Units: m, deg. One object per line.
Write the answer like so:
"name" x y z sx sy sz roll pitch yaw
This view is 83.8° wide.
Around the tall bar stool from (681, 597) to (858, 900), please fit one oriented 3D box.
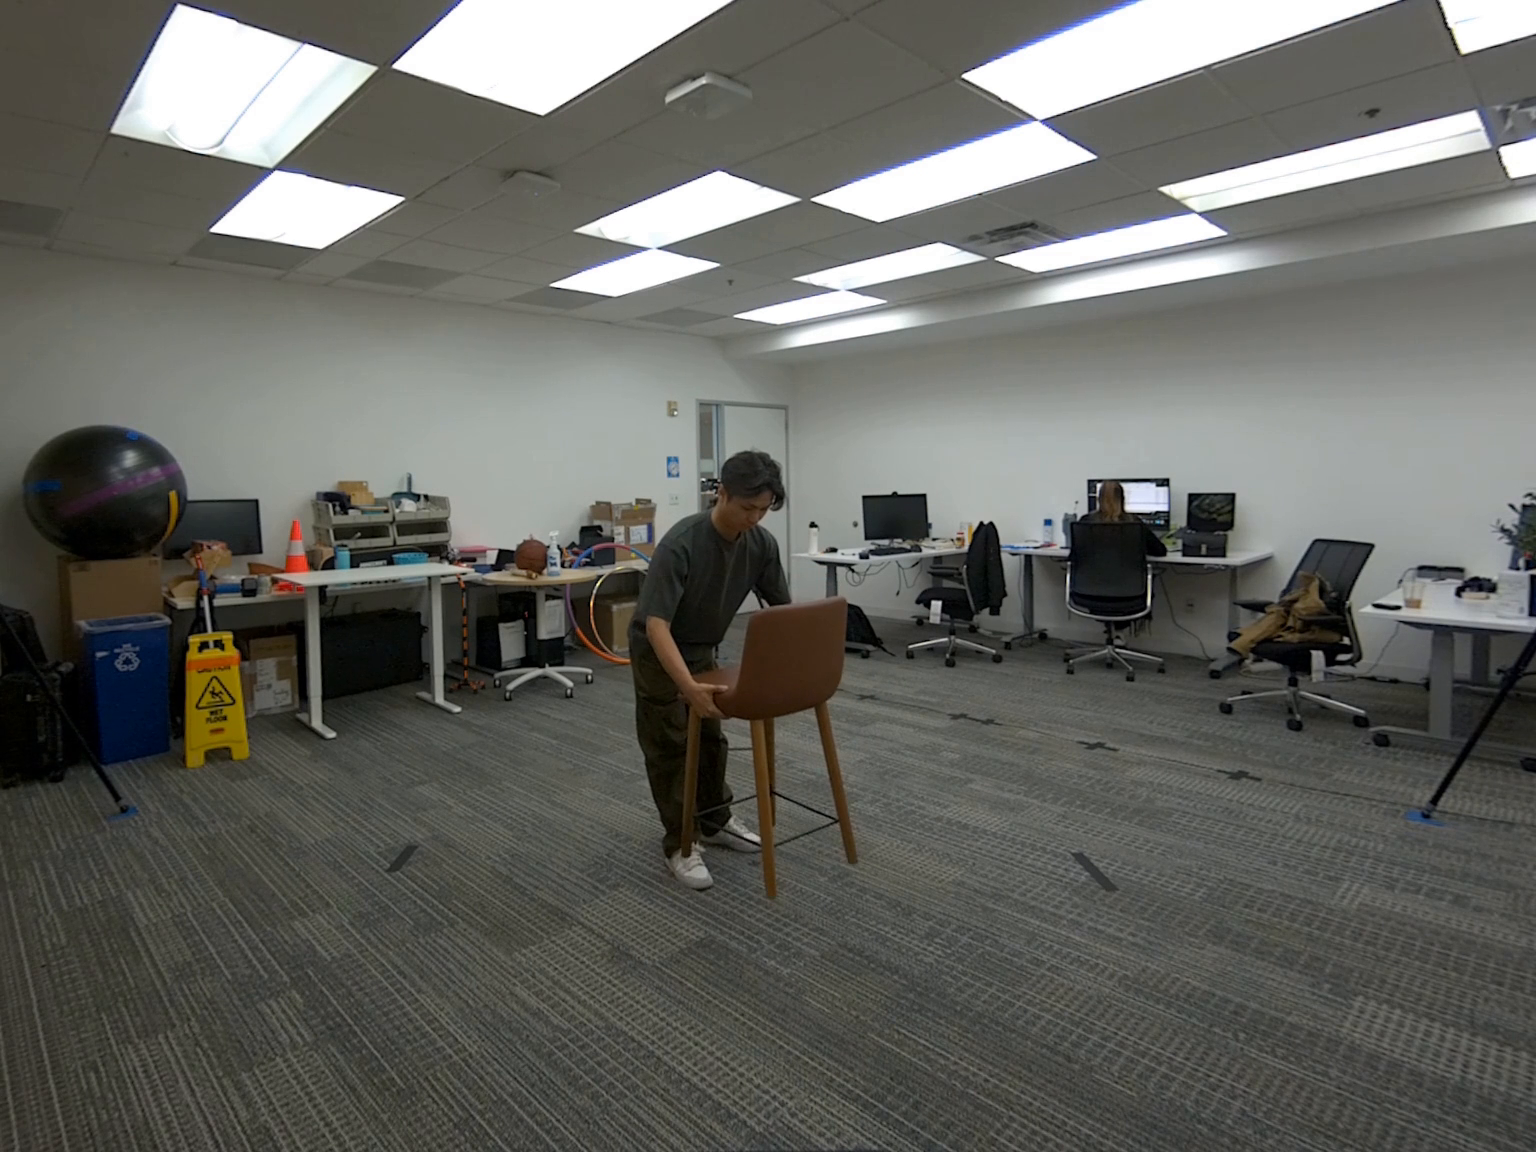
"tall bar stool" -0.010 0.506 2.797 0.445 0.886 0.481 -5 5 -38
